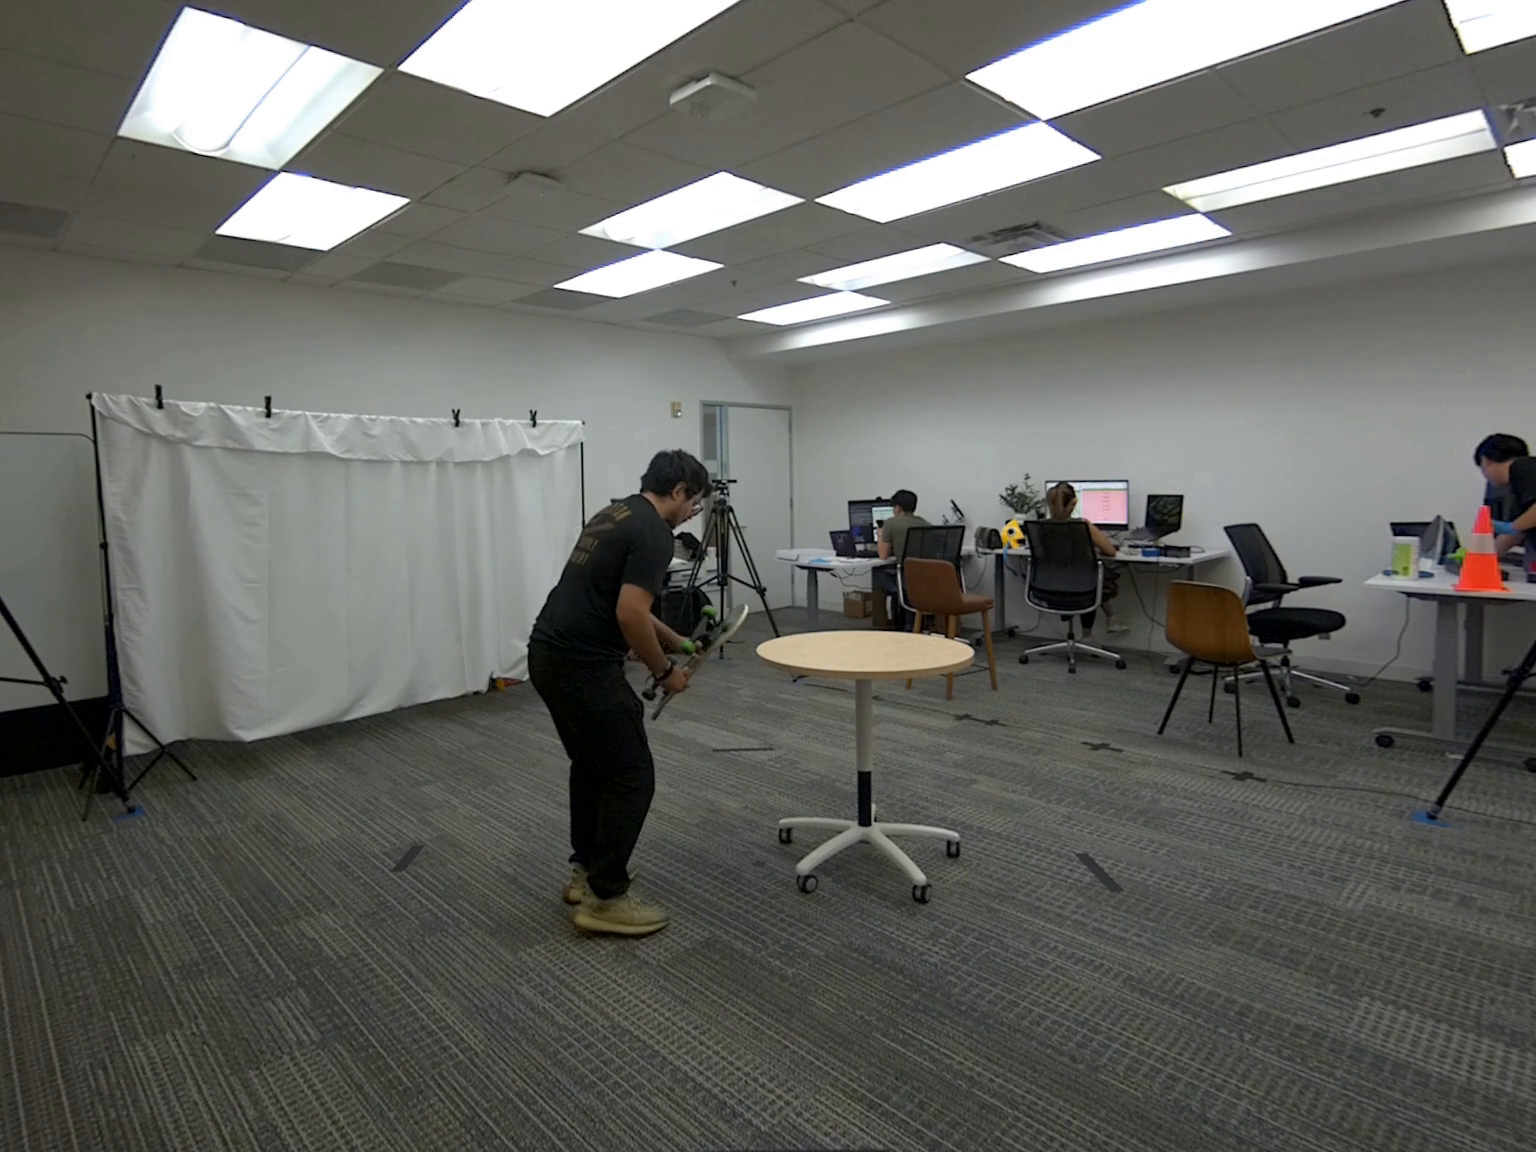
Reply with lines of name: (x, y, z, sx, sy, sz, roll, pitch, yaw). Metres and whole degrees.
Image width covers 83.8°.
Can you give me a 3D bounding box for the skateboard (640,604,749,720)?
skateboard: (-0.274, 0.292, 2.848, 0.109, 0.195, 0.783, 34, -39, -7)
